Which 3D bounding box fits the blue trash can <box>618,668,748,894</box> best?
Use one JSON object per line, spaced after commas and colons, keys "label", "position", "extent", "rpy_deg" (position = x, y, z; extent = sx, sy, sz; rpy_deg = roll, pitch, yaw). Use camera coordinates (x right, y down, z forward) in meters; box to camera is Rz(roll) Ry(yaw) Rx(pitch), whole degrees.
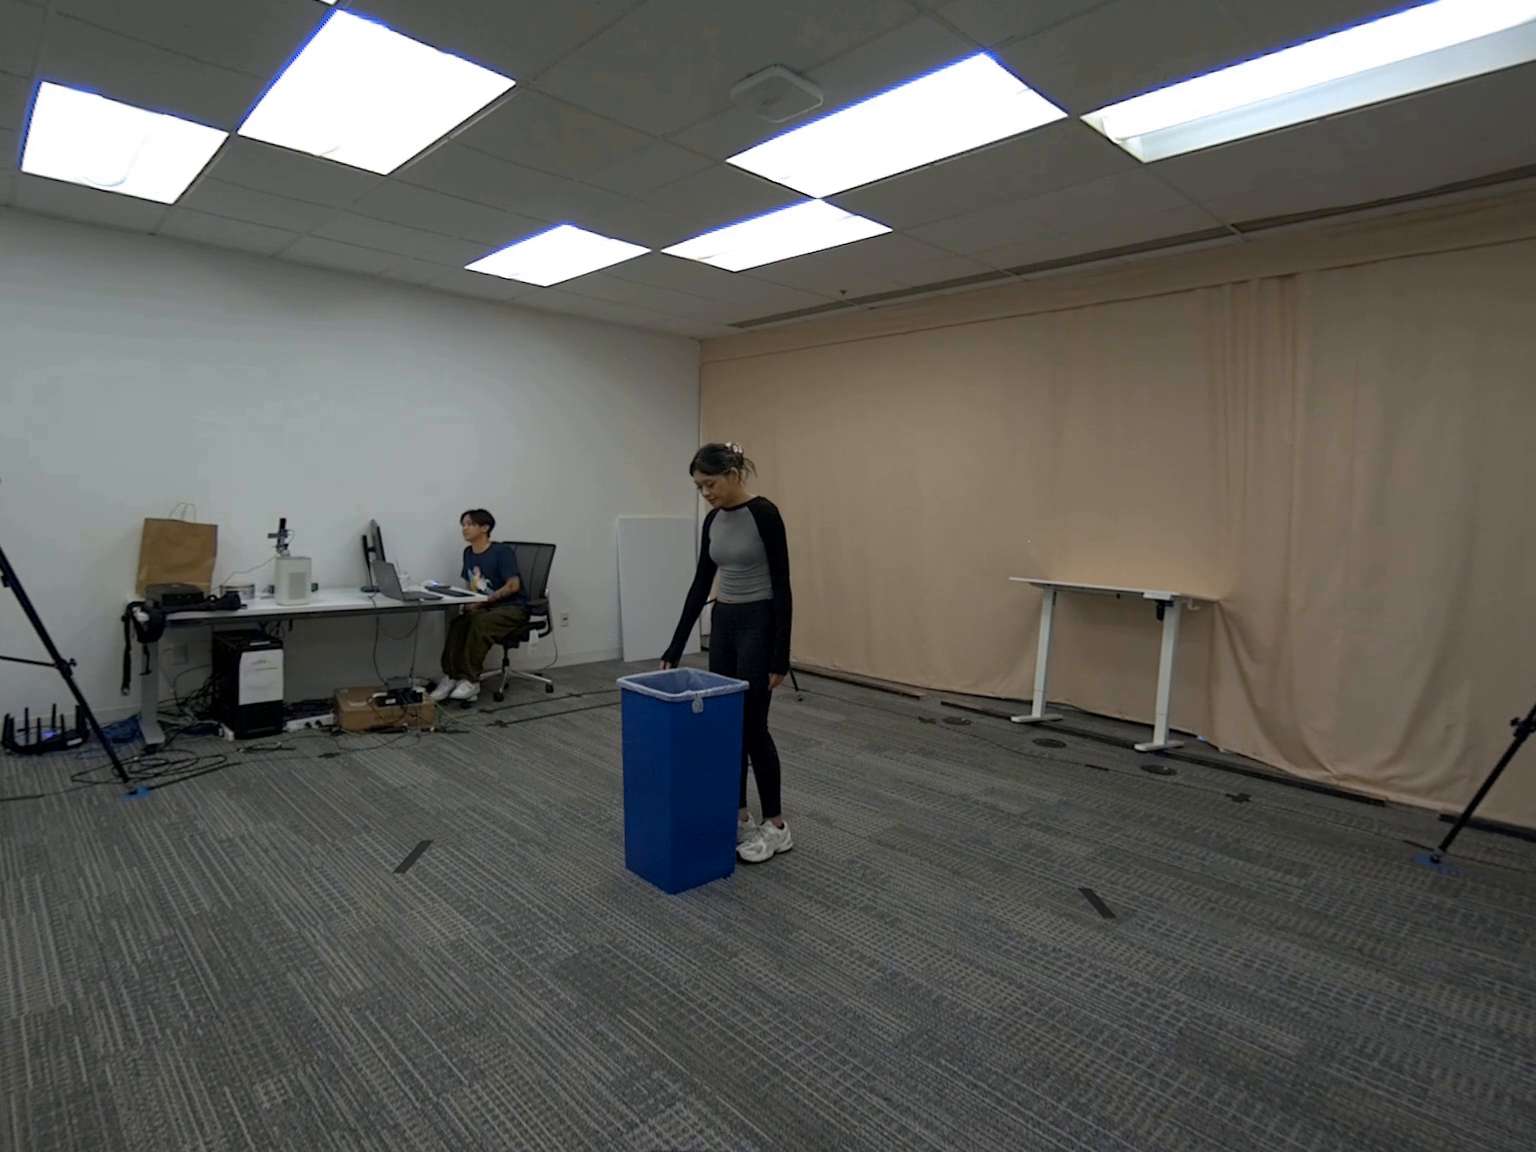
{"label": "blue trash can", "position": [-0.337, 0.742, 3.134], "extent": [0.369, 0.712, 0.383], "rpy_deg": [-2, 5, -43]}
